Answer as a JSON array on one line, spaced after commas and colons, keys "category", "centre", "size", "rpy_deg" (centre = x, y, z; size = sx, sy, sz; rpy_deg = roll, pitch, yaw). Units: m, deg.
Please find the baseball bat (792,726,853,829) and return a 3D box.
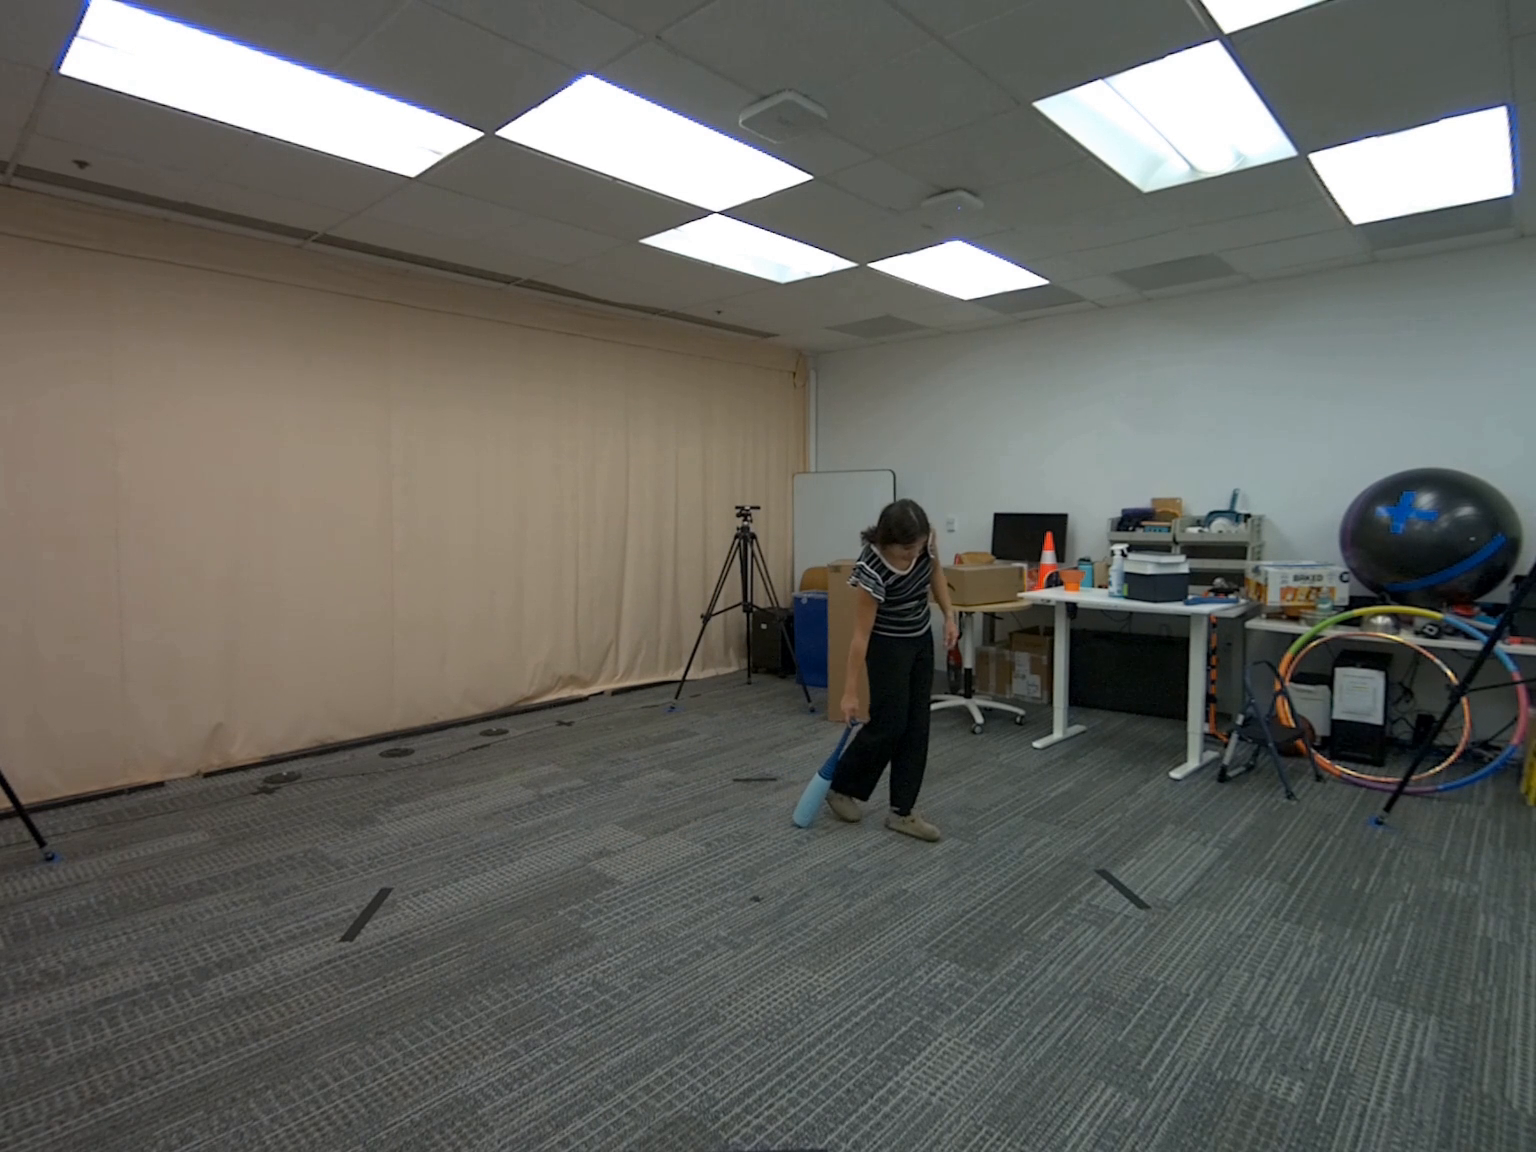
[{"category": "baseball bat", "centre": [0.256, 0.844, 3.606], "size": [0.088, 0.542, 0.090], "rpy_deg": [23, 15, -9]}]
